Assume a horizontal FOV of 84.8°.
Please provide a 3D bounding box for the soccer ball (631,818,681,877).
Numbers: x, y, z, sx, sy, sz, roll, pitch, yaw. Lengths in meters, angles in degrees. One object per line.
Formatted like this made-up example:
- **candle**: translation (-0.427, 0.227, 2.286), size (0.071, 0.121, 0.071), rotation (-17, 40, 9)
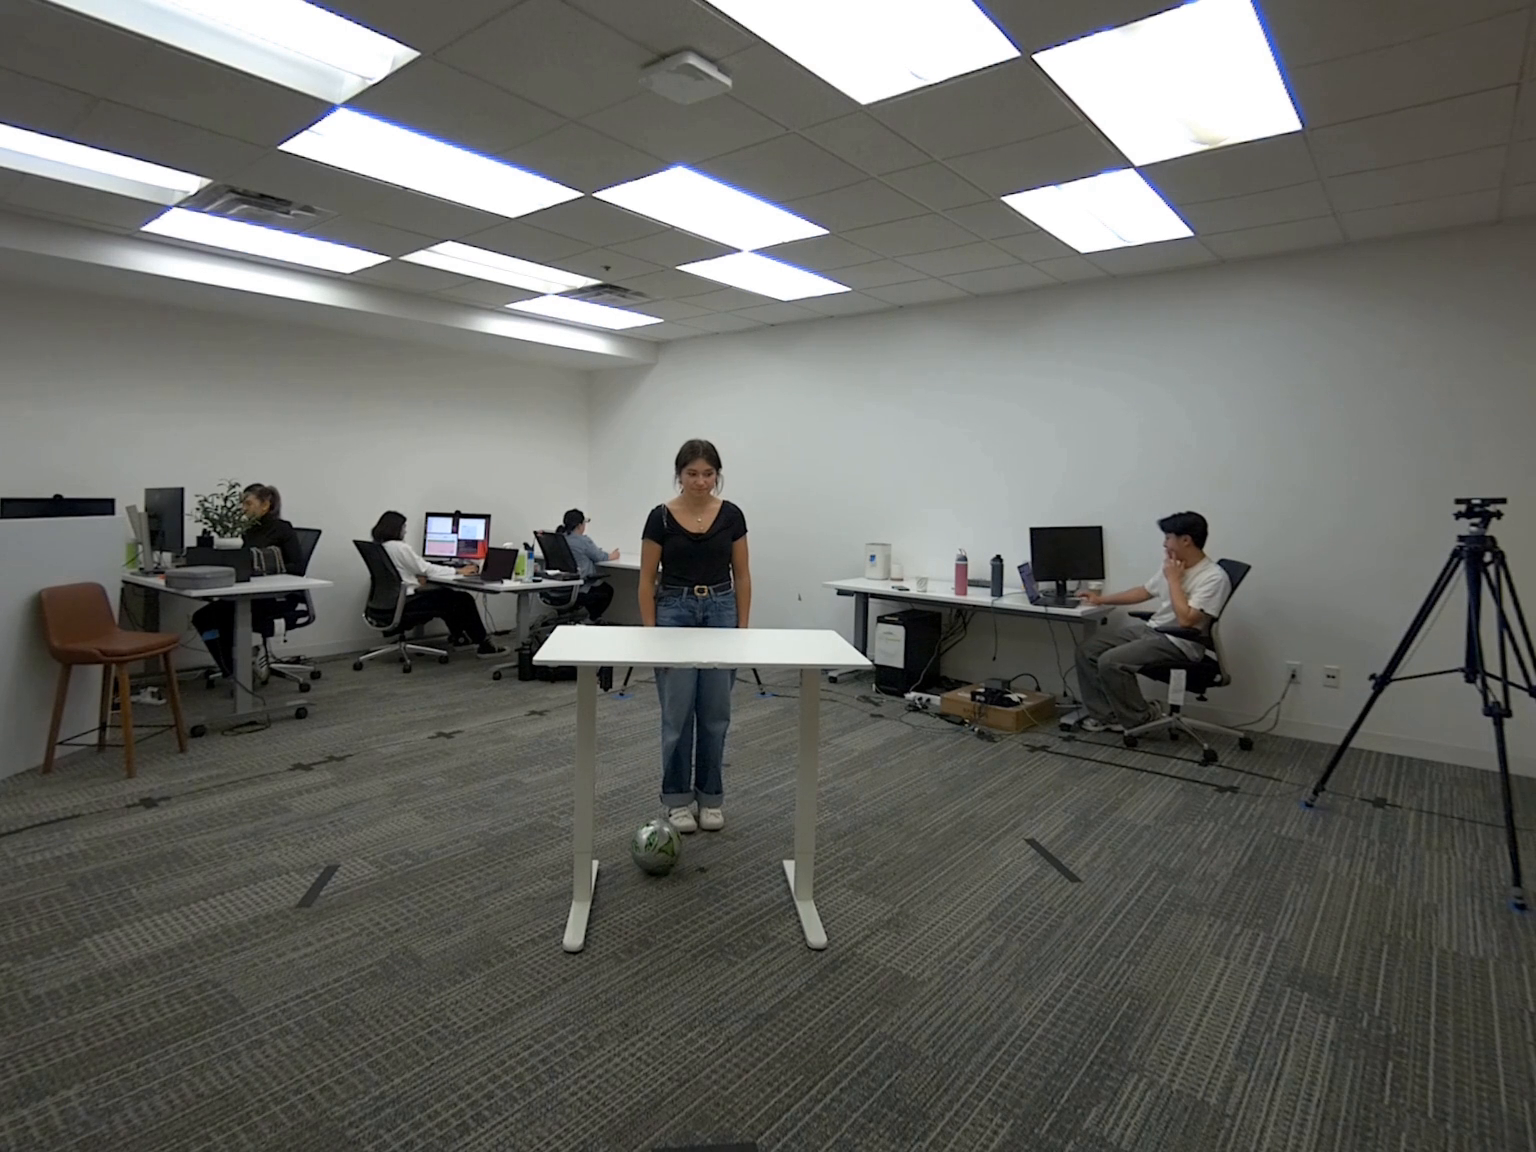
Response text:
- **soccer ball**: translation (-0.412, 0.976, 3.088), size (0.187, 0.187, 0.188), rotation (1, 4, -2)
